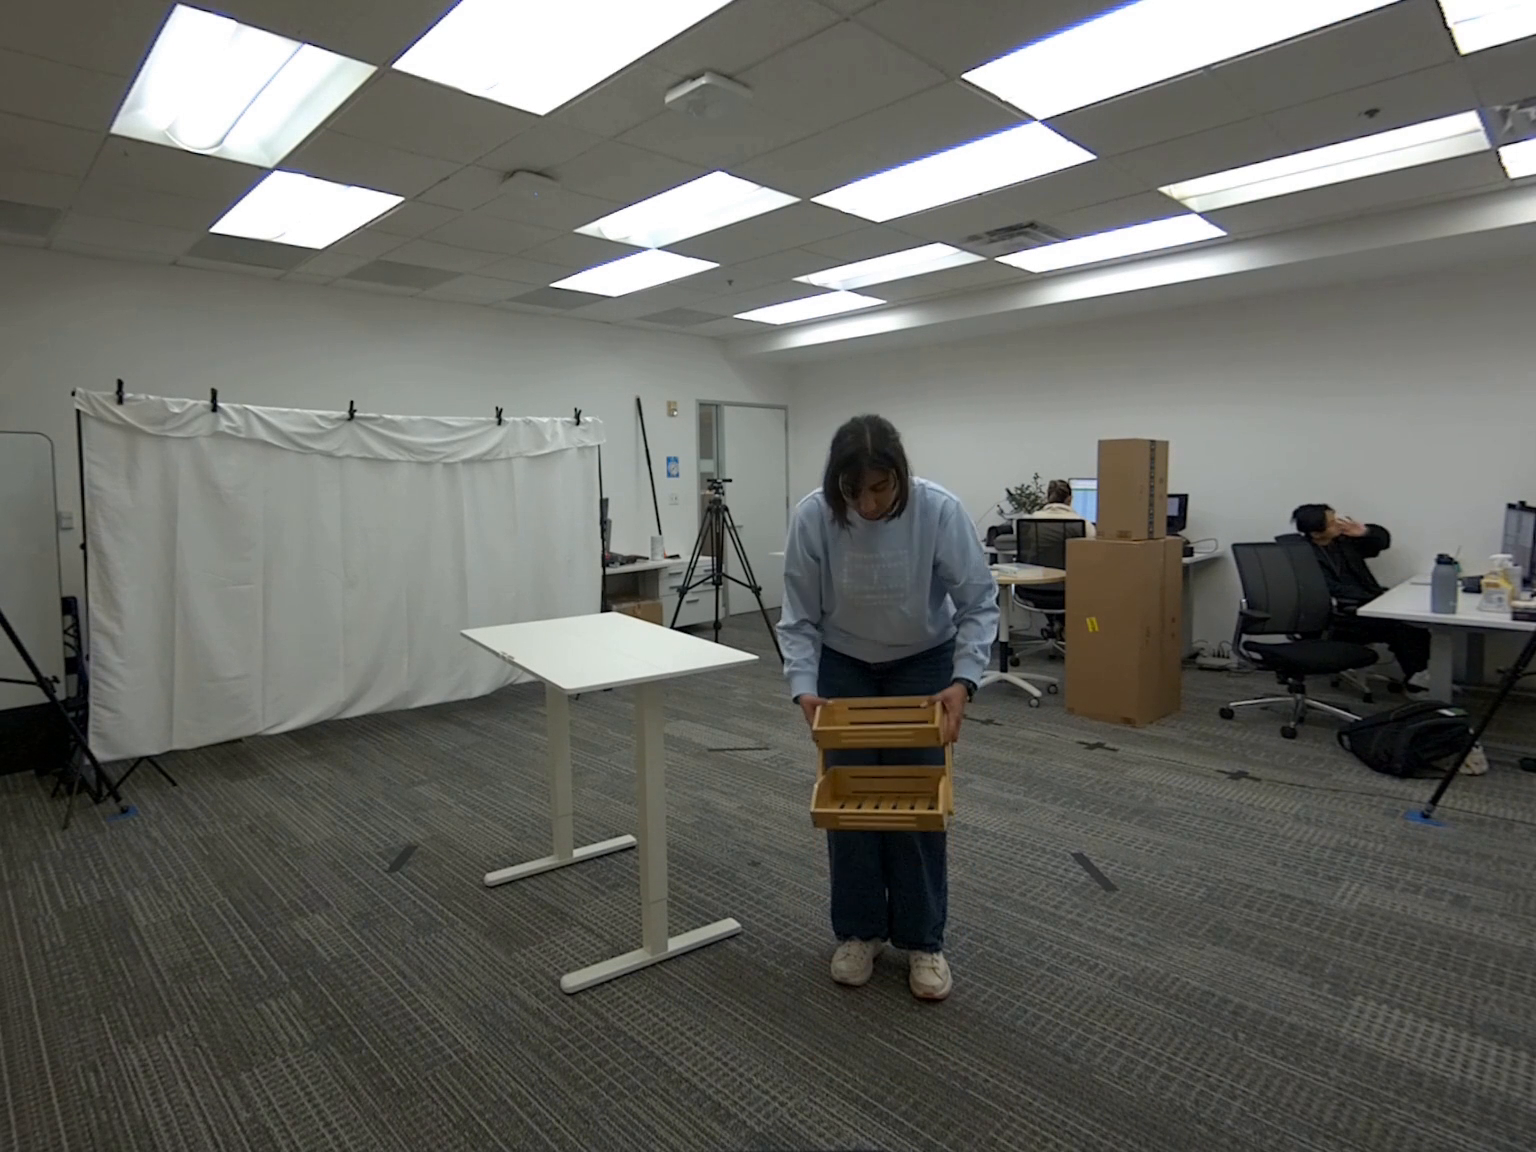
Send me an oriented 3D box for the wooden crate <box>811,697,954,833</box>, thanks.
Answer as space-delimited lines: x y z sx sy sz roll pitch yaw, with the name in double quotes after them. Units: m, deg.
0.281 0.449 2.075 0.329 0.274 0.296 -6 -2 18 "wooden crate"
